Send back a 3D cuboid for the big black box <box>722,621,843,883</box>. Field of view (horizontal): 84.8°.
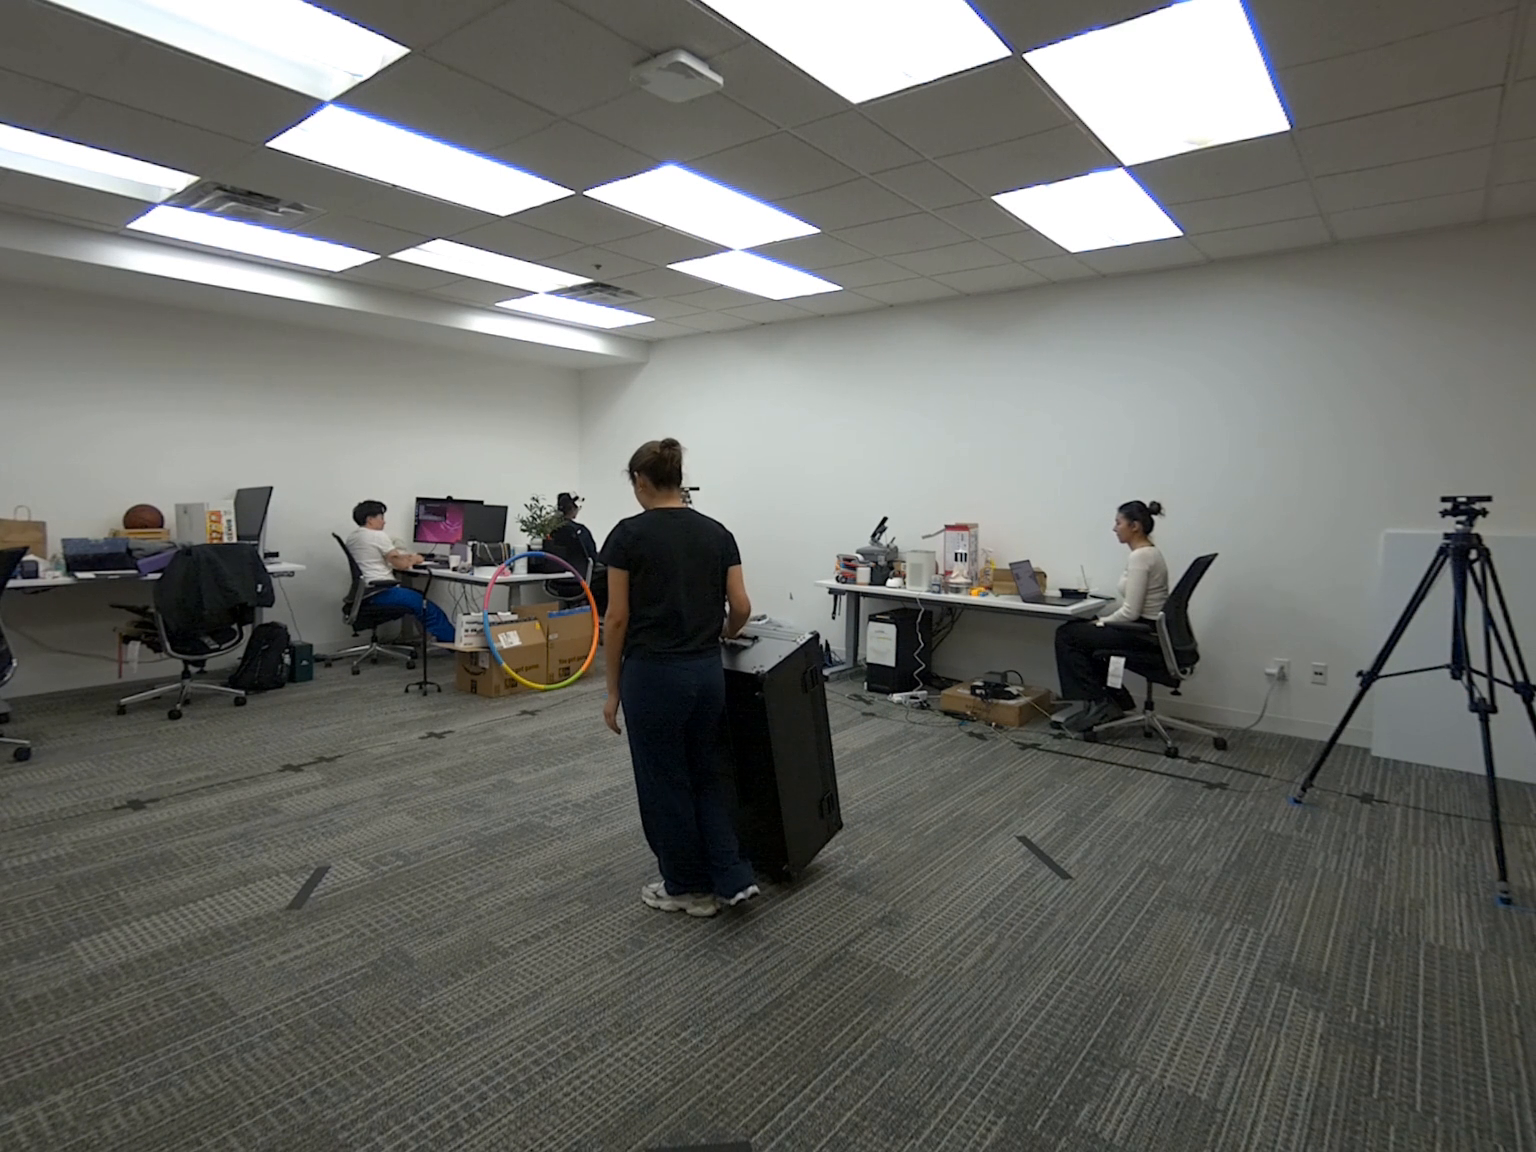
[{"bbox_3d":[-0.048,0.632,3.077,0.538,0.847,0.390,5,20,37],"label":"big black box"}]
